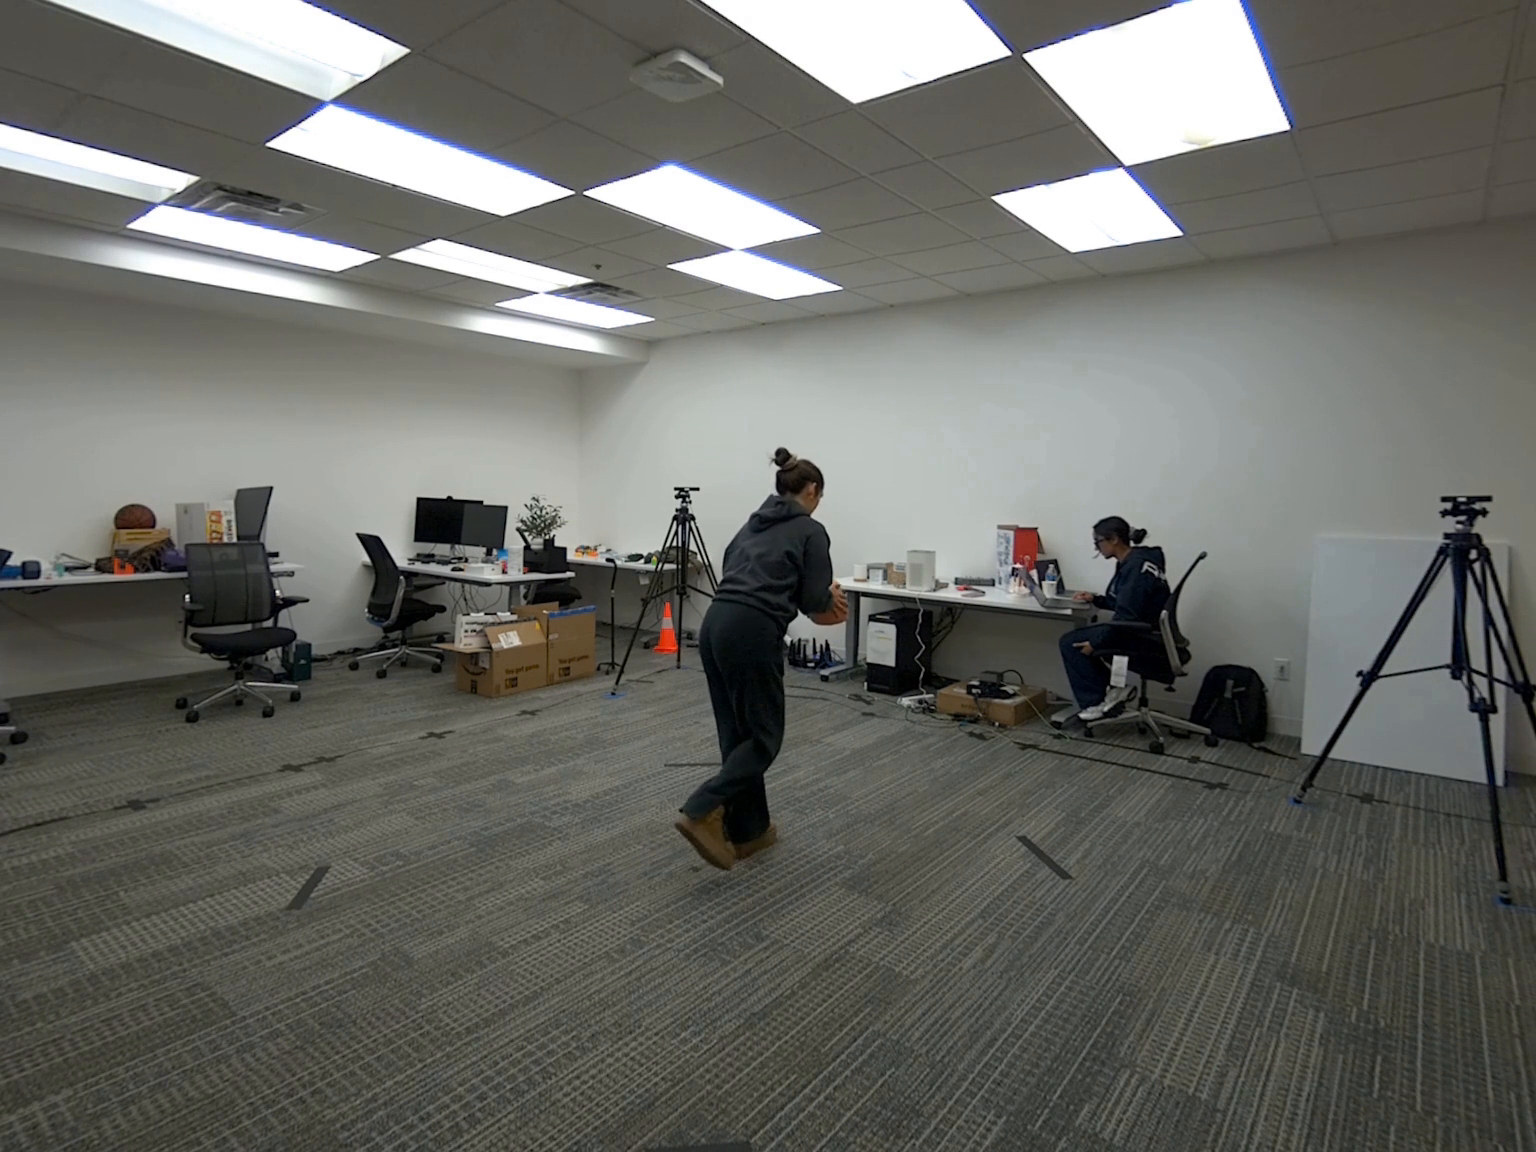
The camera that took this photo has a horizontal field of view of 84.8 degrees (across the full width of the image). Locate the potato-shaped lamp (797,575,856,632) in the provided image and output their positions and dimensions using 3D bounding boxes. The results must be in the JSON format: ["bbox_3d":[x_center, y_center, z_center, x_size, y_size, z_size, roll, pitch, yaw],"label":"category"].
[{"bbox_3d":[0.236,0.108,3.499,0.167,0.197,0.170,-10,9,-42],"label":"potato-shaped lamp"}]
